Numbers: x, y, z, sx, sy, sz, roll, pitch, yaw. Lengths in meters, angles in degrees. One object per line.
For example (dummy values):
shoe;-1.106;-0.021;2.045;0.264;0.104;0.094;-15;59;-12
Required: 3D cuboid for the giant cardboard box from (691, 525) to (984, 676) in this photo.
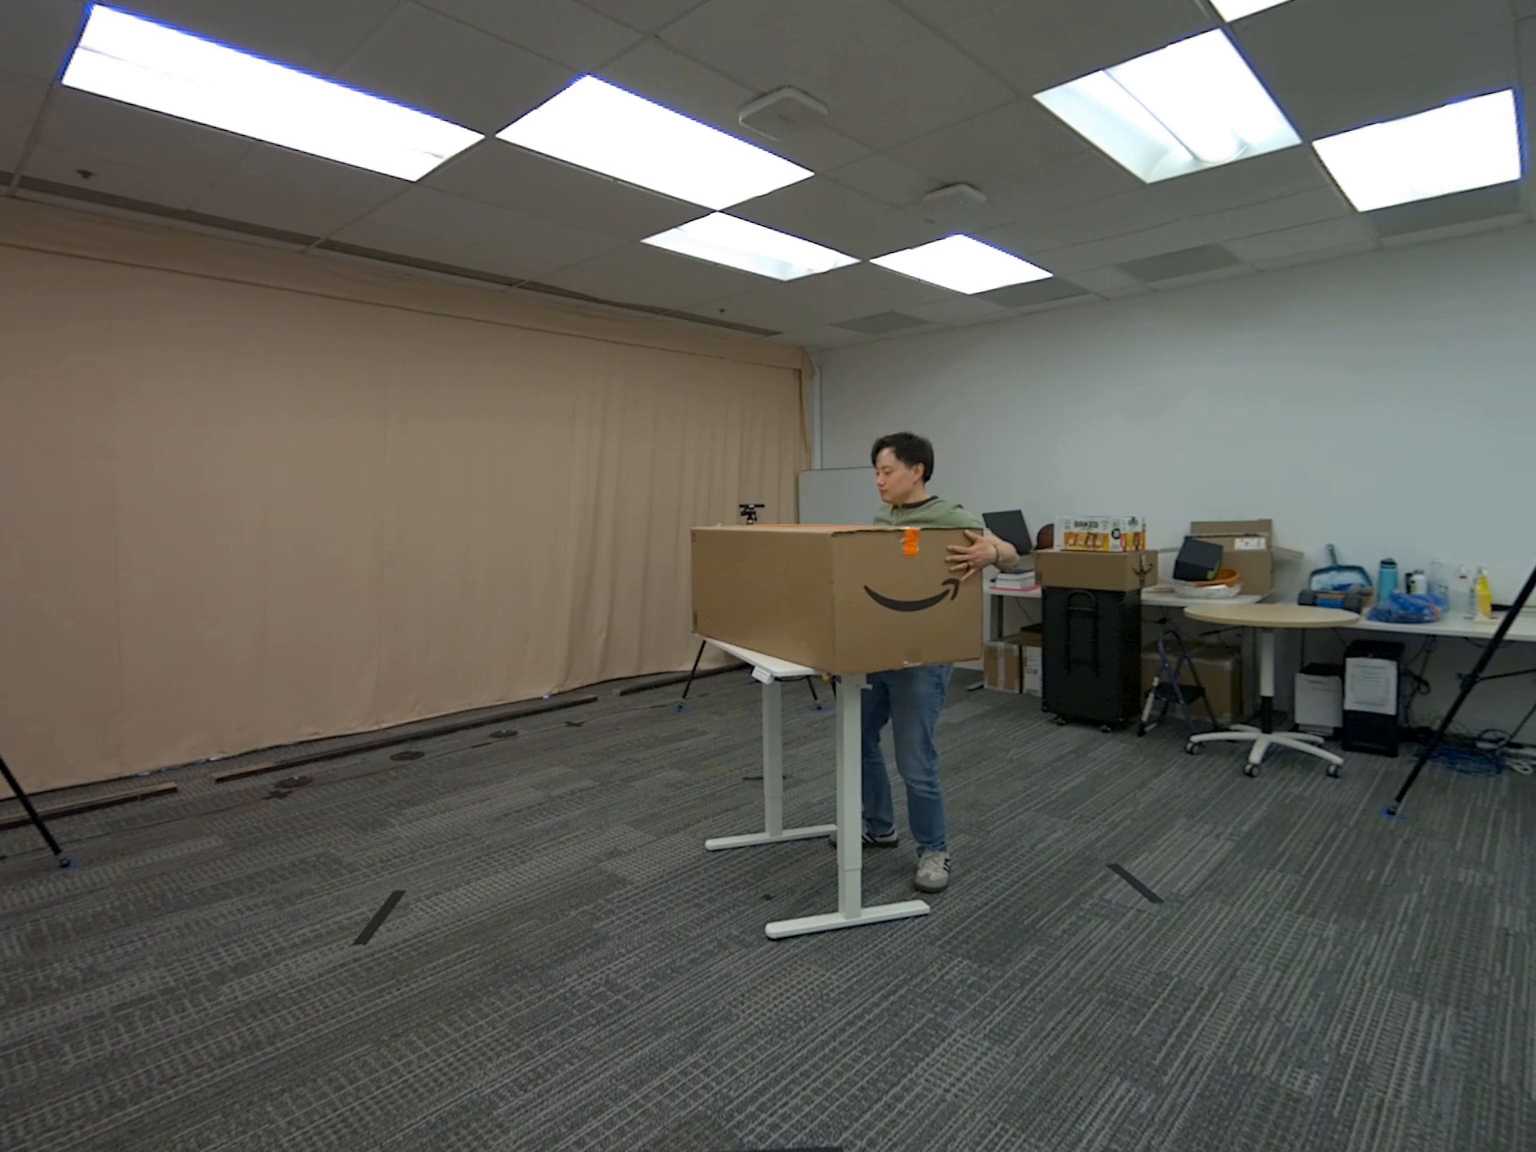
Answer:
giant cardboard box;0.186;0.036;3.028;0.563;0.425;1.054;-2;4;-28
